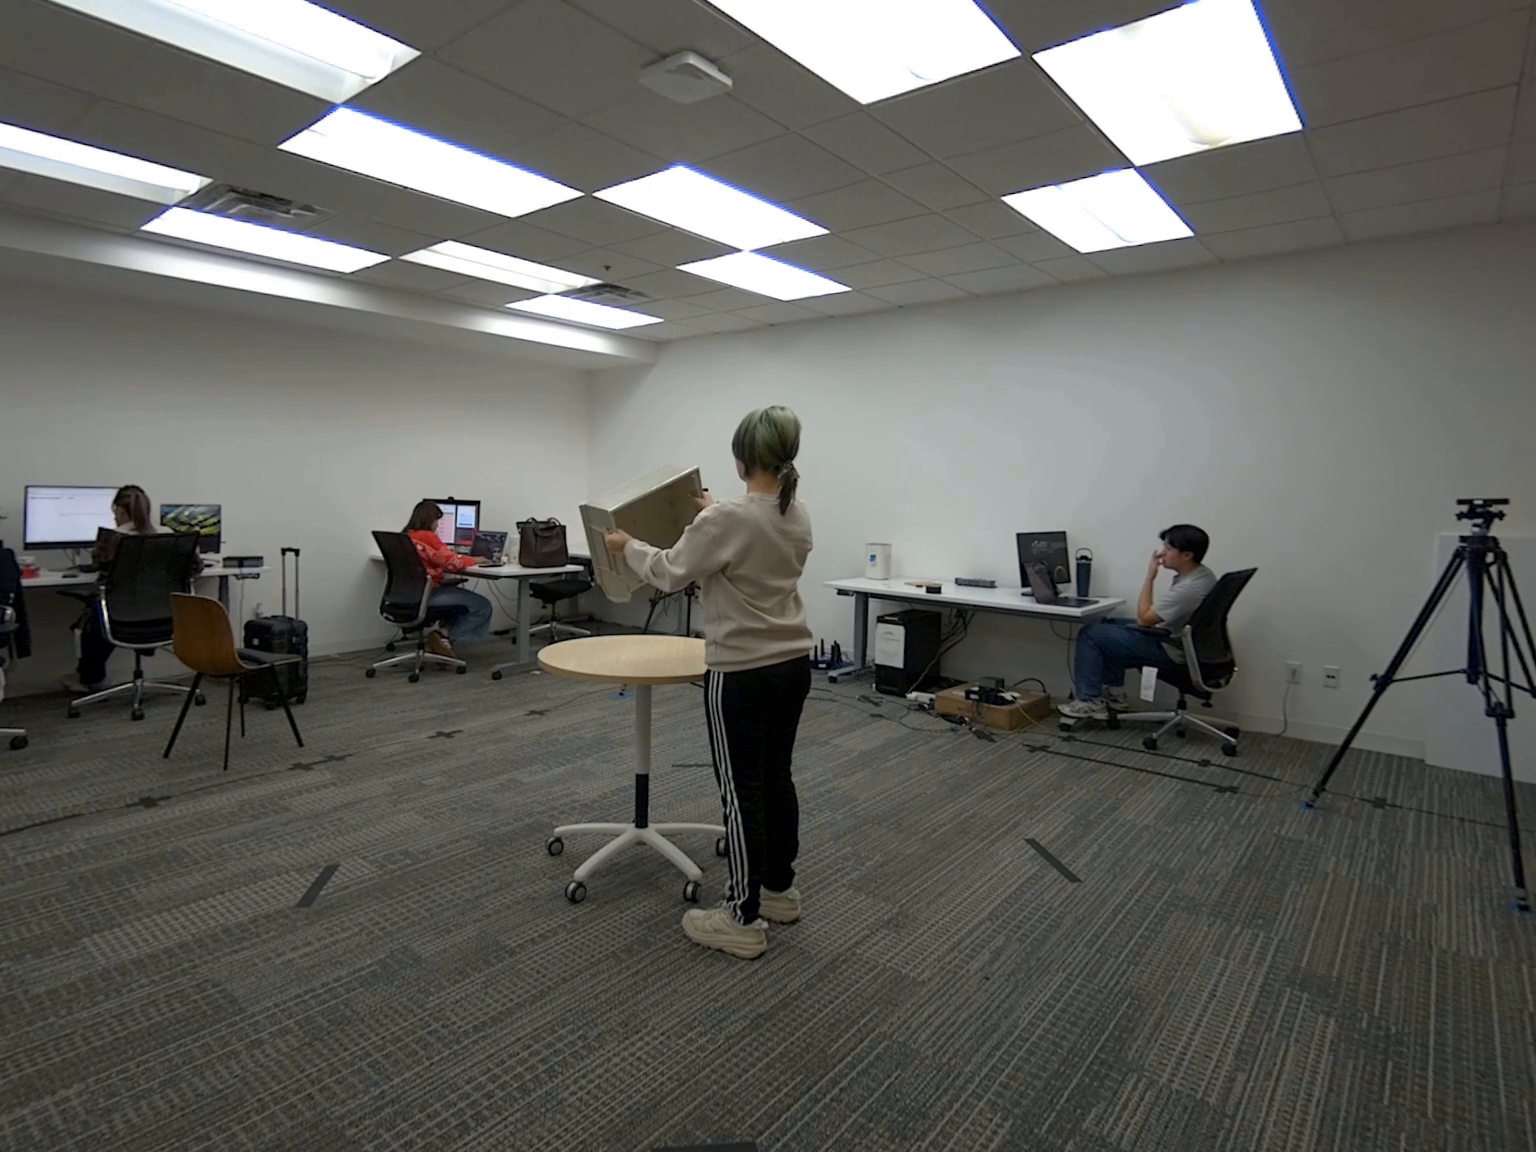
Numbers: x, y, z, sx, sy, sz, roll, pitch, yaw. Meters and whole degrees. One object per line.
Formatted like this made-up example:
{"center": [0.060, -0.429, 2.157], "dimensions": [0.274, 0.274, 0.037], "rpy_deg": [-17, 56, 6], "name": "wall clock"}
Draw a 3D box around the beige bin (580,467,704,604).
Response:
{"center": [-0.434, -0.159, 3.057], "dimensions": [0.196, 0.368, 0.417], "rpy_deg": [14, 35, 40], "name": "beige bin"}
